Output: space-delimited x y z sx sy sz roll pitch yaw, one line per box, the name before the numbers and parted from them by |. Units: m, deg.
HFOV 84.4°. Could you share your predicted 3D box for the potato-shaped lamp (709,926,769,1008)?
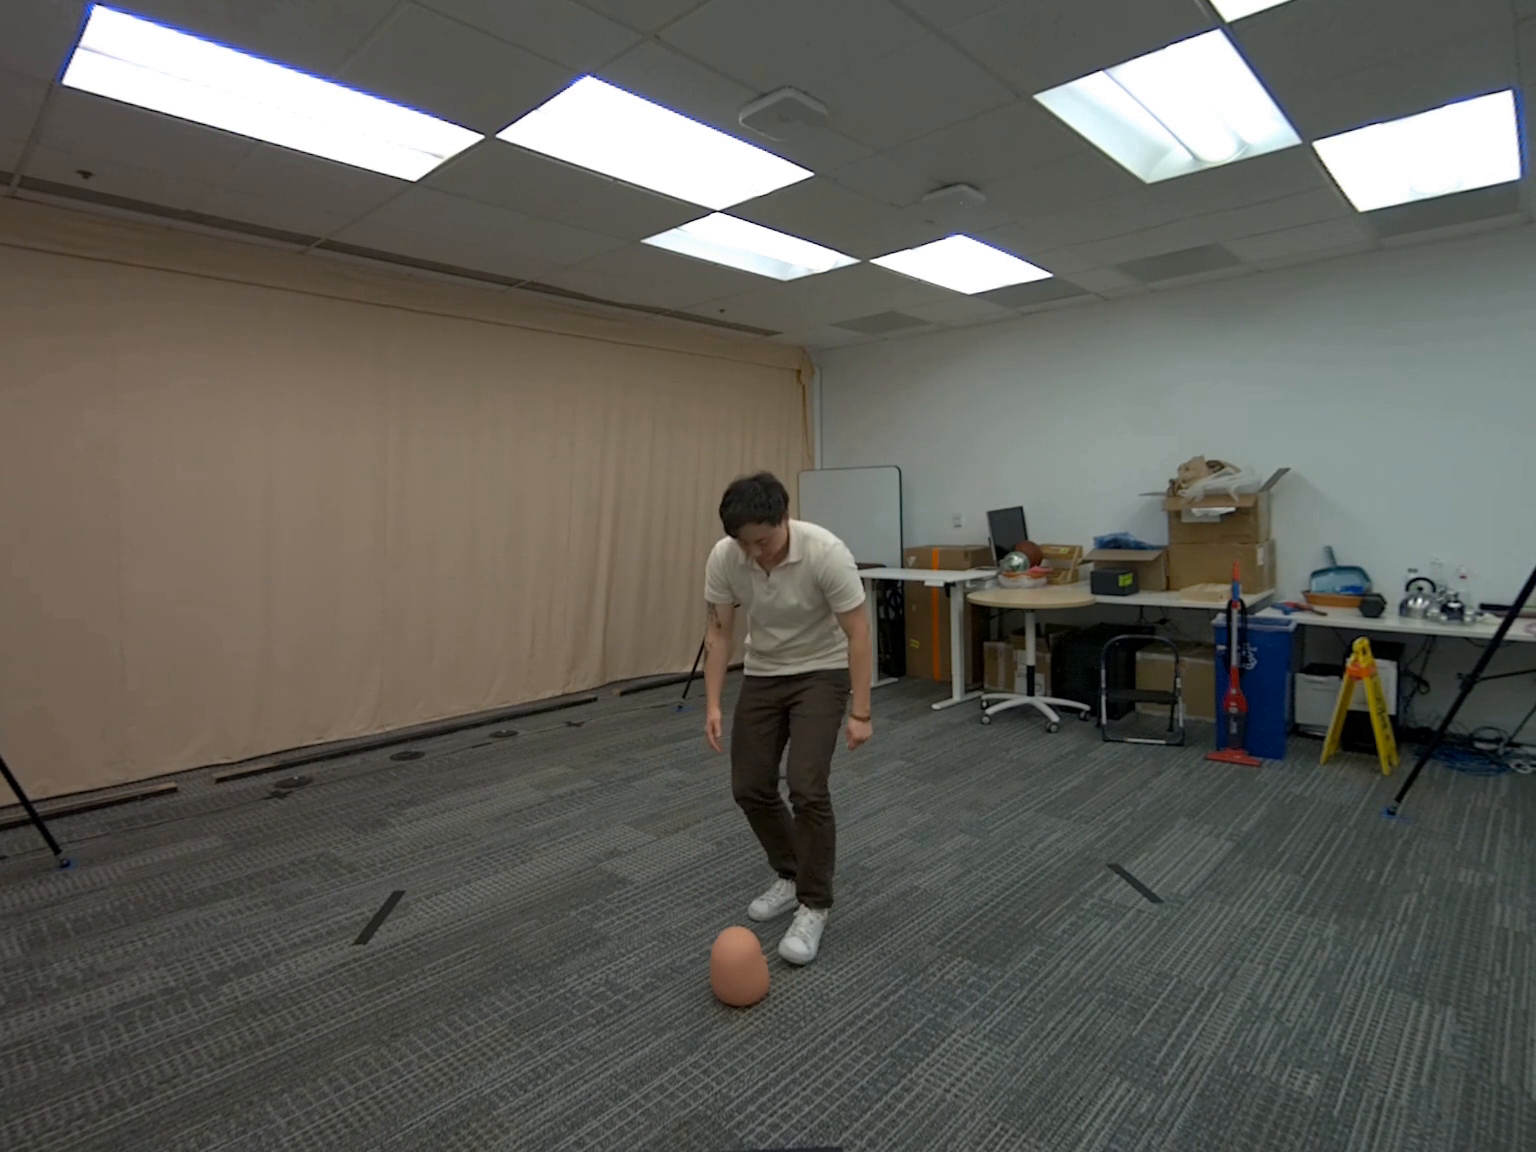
potato-shaped lamp | -0.078 1.093 2.373 0.170 0.197 0.166 3 5 35
